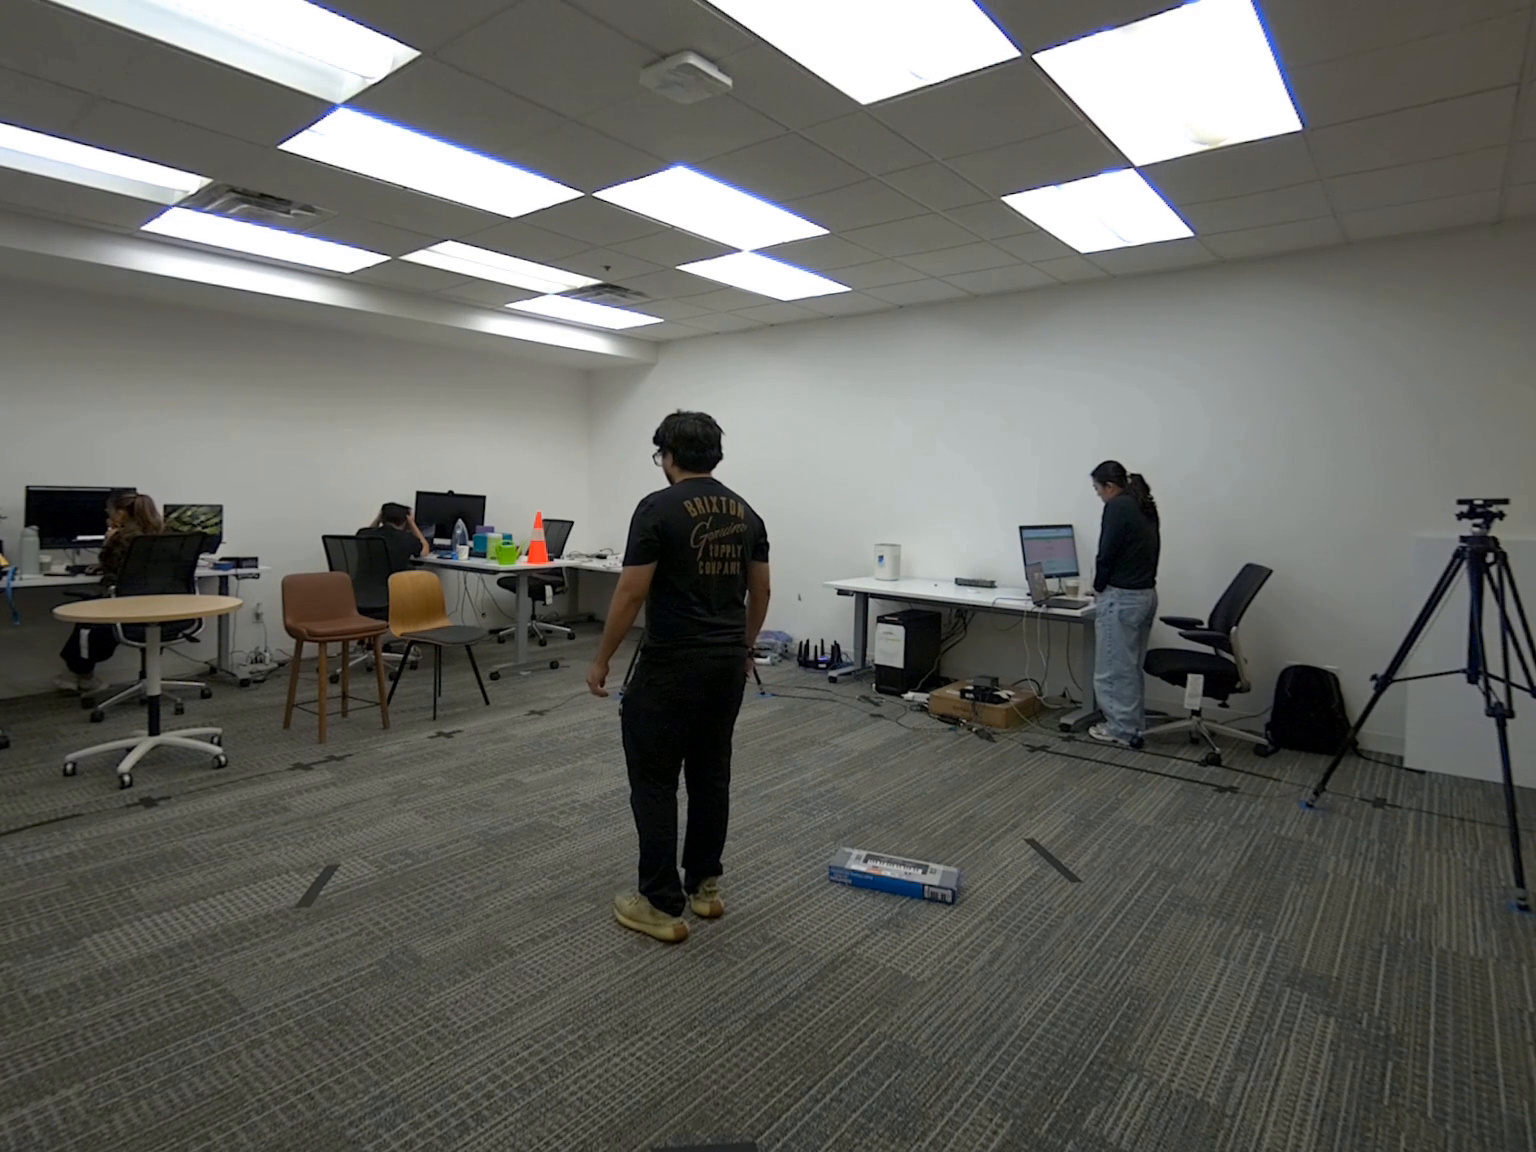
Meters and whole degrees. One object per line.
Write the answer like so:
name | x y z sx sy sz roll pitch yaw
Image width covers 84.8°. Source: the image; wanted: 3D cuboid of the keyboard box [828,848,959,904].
keyboard box | 0.445 1.061 3.036 0.447 0.059 0.173 3 6 21
